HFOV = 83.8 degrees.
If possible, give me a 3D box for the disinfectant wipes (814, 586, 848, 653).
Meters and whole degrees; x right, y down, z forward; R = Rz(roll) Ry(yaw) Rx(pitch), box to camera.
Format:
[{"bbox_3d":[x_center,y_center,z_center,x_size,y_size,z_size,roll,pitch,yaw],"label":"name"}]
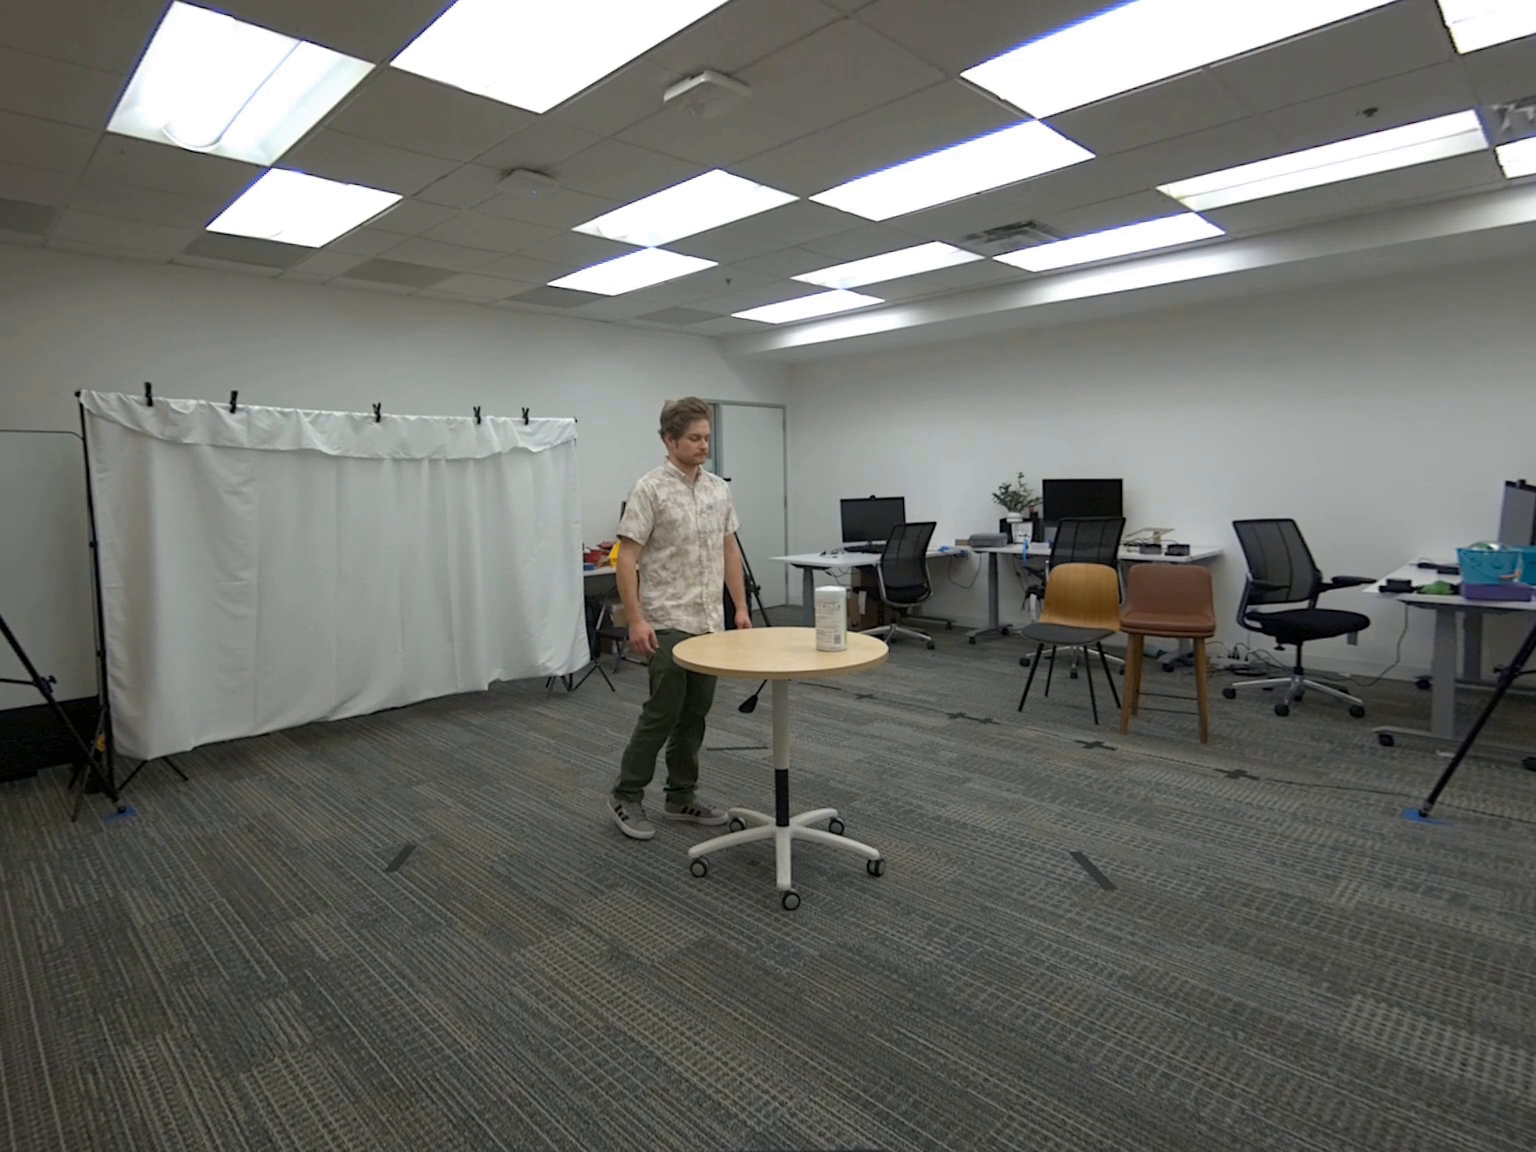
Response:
[{"bbox_3d":[0.223,0.150,2.987,0.118,0.216,0.118,-2,5,-1],"label":"disinfectant wipes"}]
